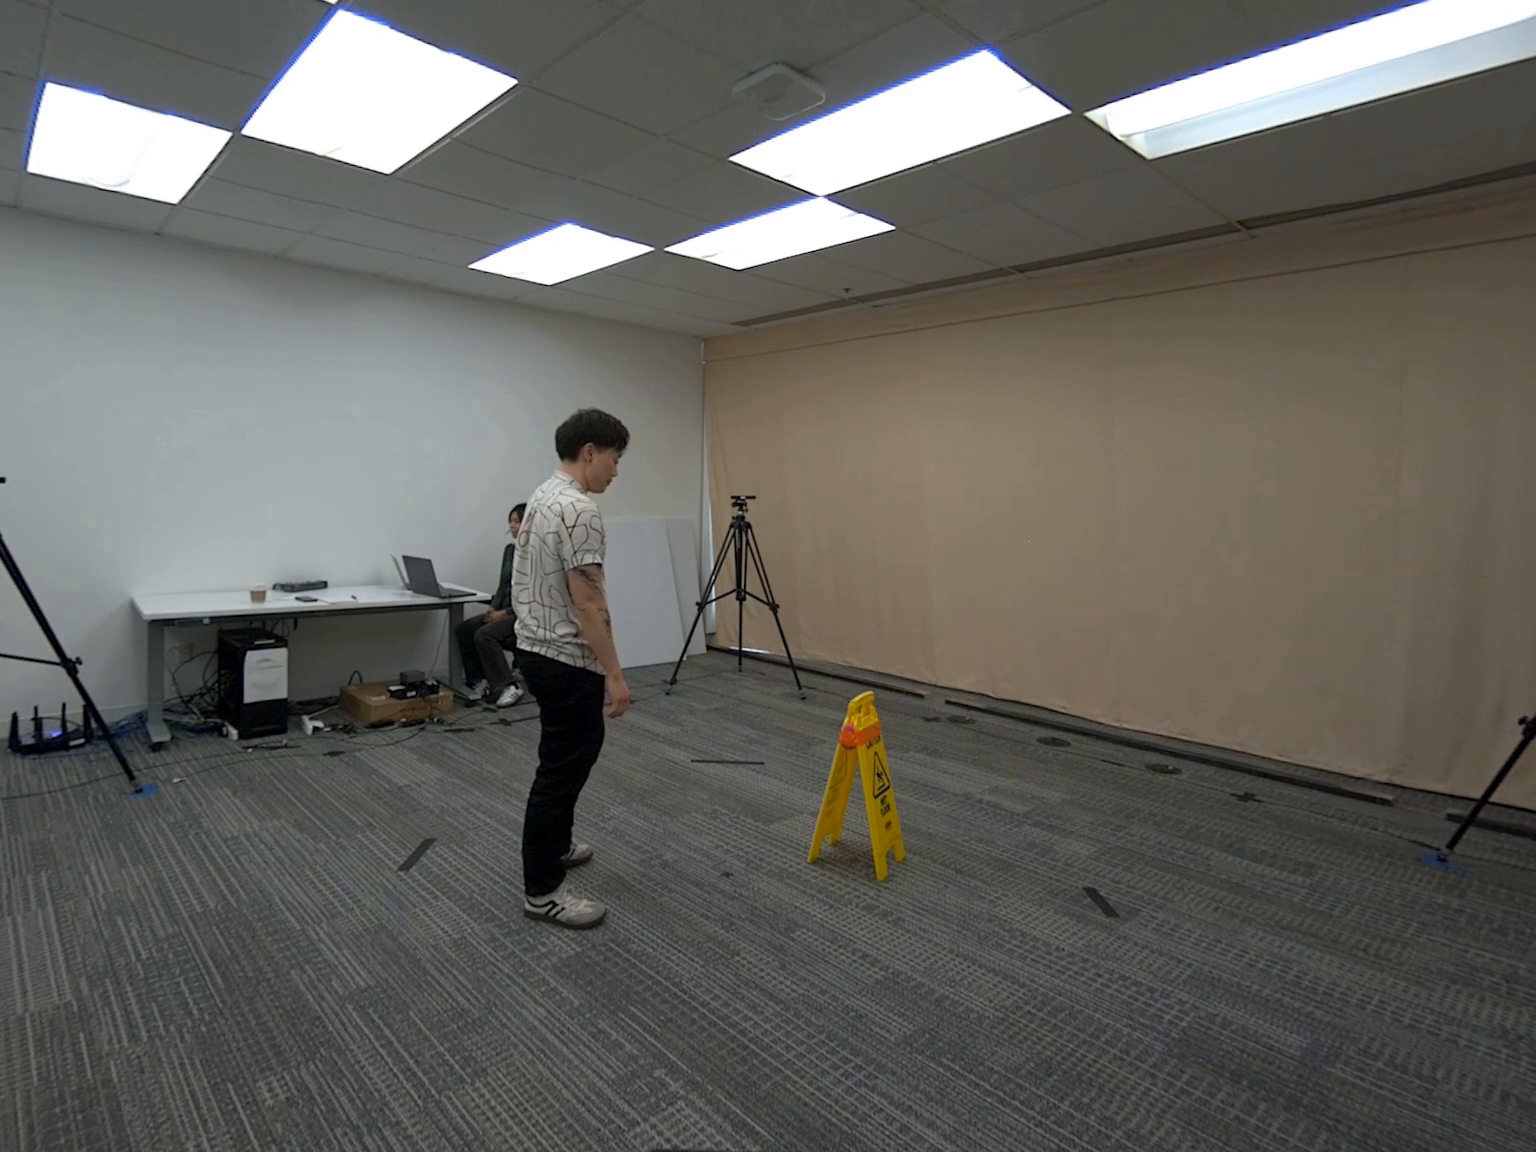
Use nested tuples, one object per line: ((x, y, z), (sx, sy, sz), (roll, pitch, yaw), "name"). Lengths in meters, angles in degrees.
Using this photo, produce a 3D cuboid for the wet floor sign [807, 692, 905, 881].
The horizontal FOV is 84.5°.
((0.342, 0.777, 3.243), (0.296, 0.645, 0.277), (2, 2, 29), "wet floor sign")
